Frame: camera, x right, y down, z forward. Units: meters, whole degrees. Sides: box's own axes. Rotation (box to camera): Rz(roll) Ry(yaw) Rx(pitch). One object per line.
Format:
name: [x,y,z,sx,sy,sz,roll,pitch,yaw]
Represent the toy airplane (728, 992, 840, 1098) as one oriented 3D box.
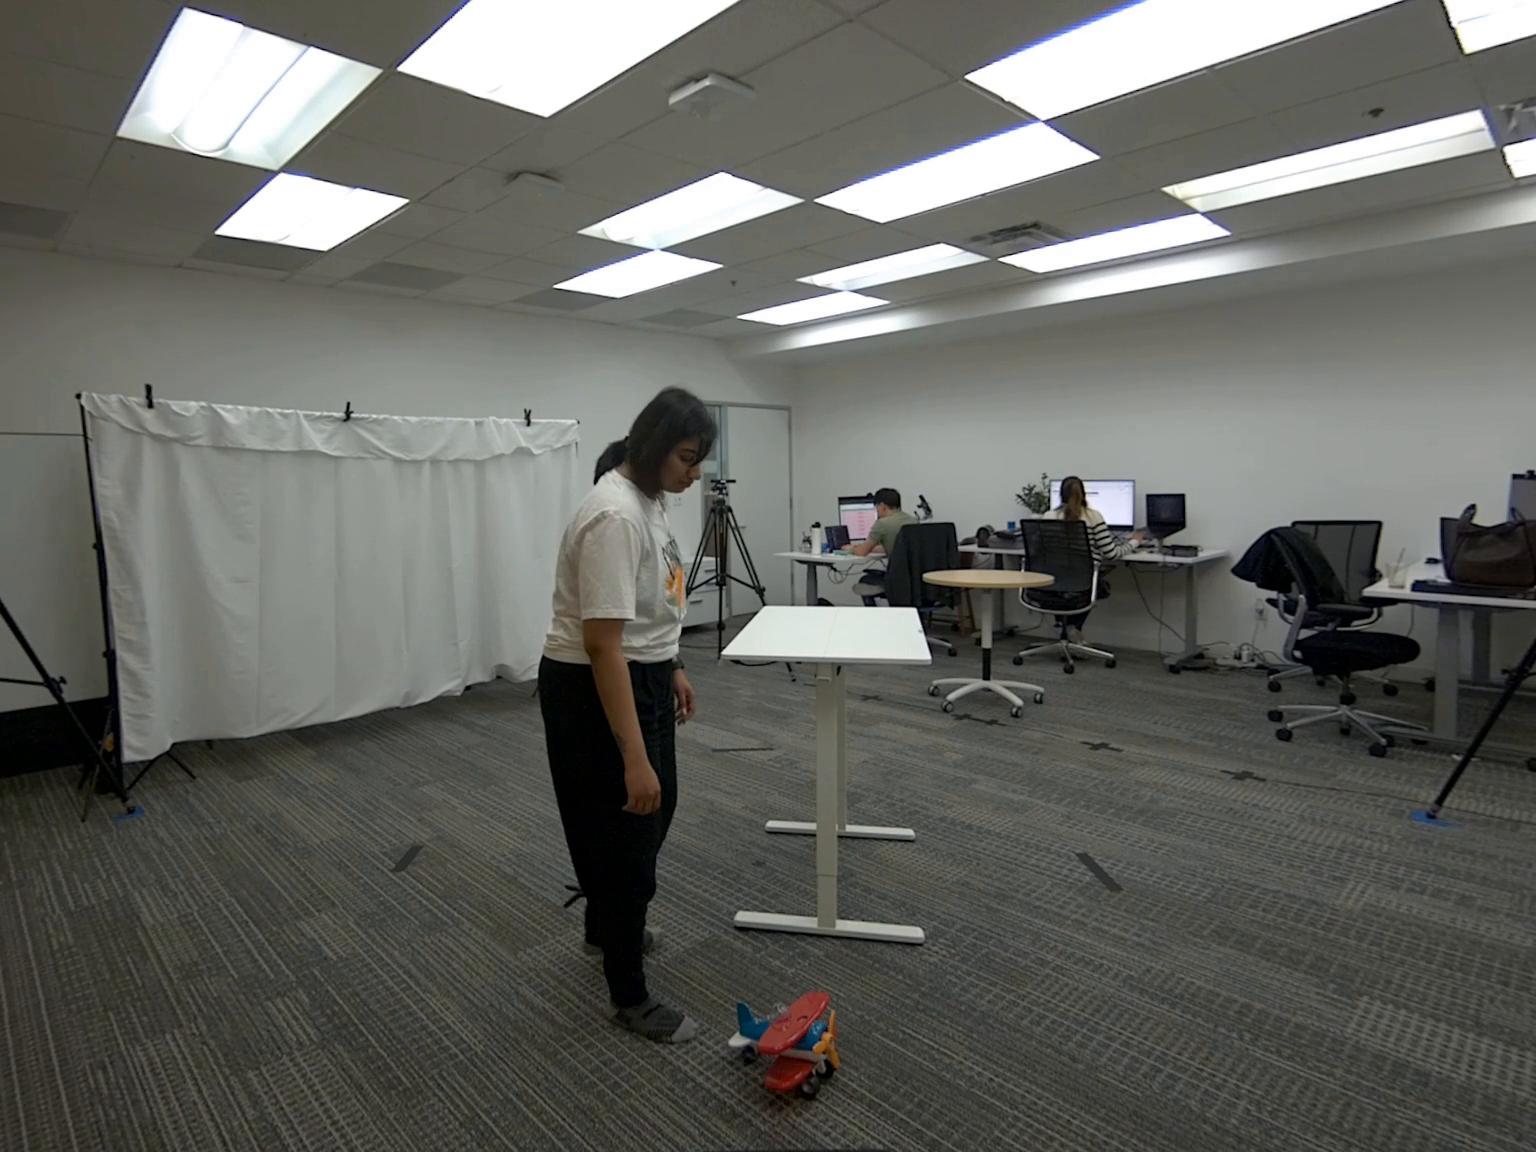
toy airplane: [0.038,1.097,1.995,0.261,0.155,0.251,0,7,6]
